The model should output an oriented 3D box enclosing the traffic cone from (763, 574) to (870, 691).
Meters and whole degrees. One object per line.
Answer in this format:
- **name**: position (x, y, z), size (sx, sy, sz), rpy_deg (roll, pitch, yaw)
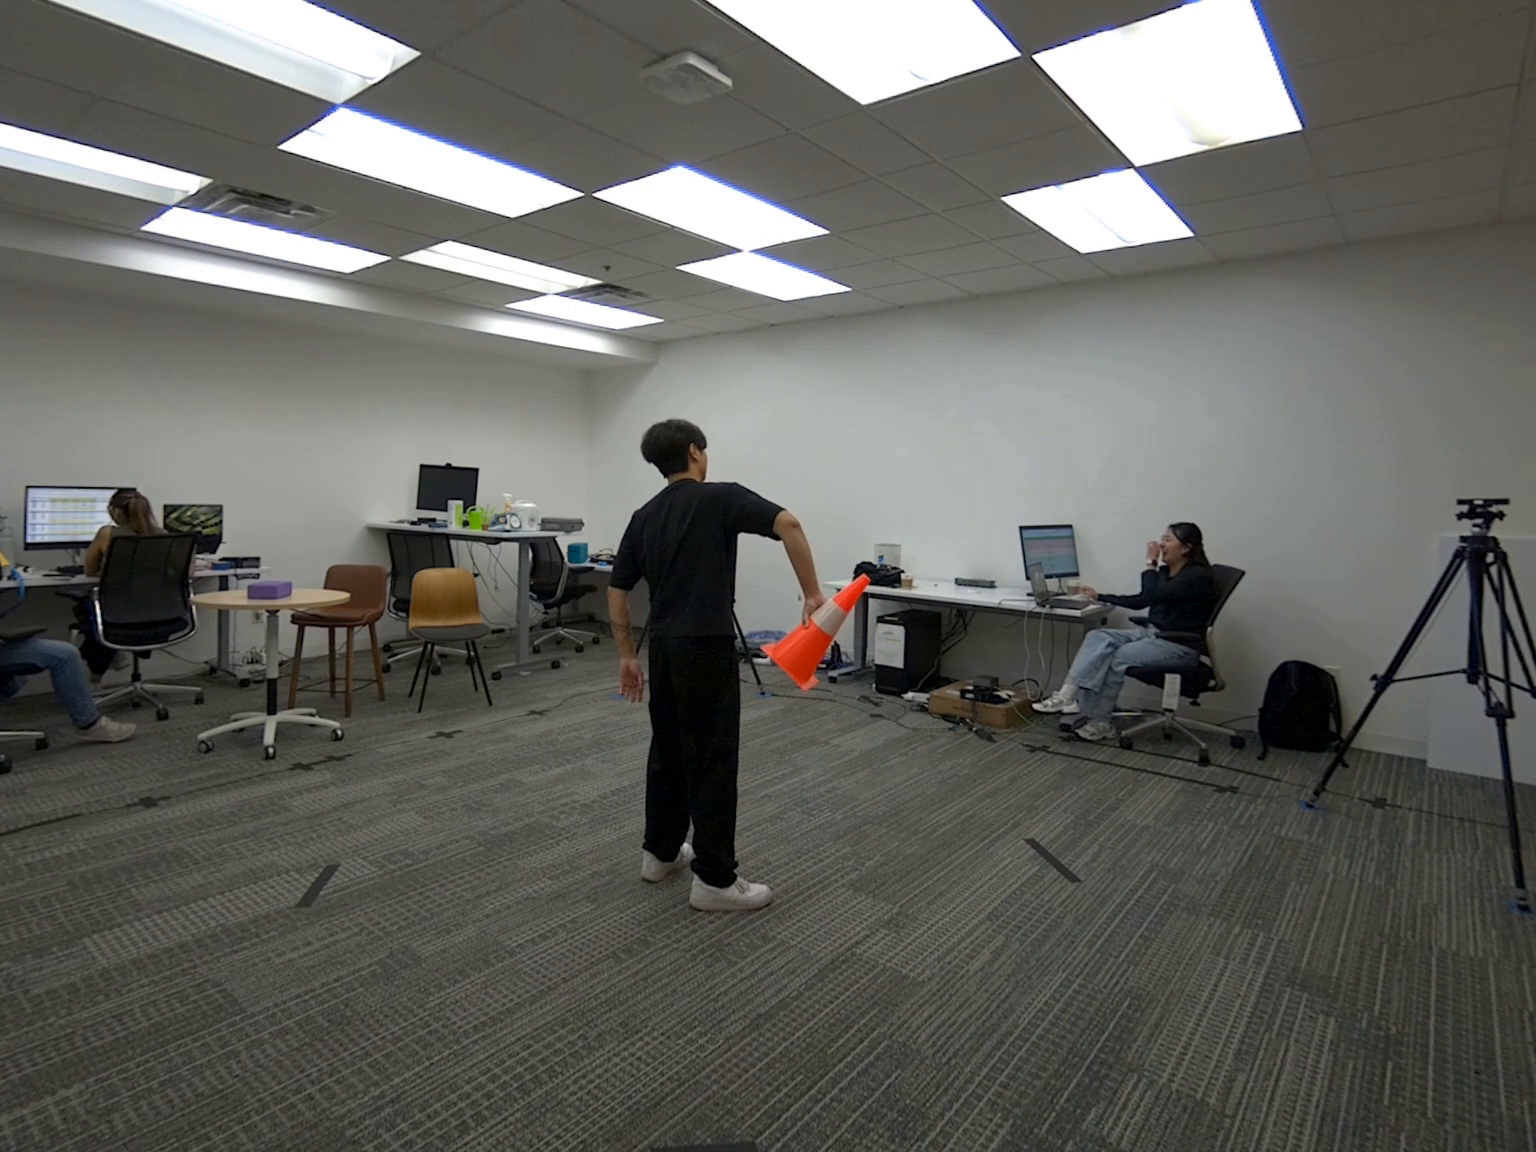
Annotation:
- **traffic cone**: position (0.181, 0.144, 2.710), size (0.208, 0.383, 0.200), rpy_deg (42, 8, 16)
